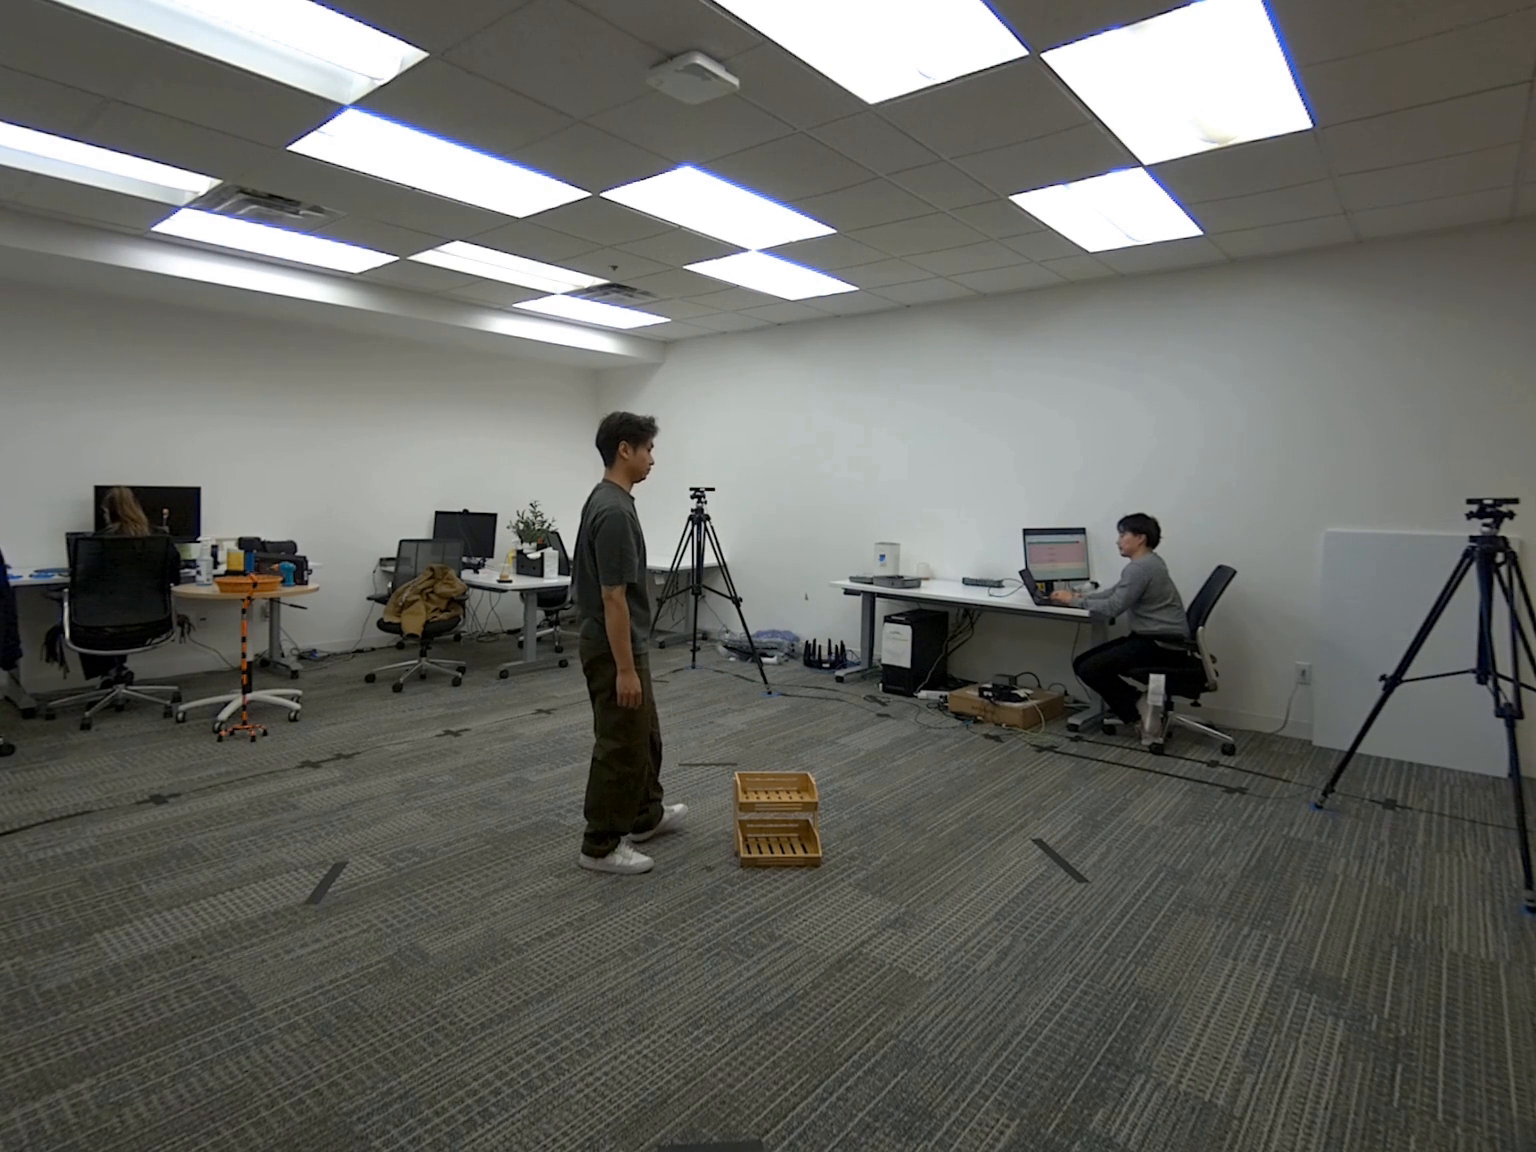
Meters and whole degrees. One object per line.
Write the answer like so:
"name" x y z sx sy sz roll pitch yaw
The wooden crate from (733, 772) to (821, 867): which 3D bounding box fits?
"wooden crate" 0.033 0.928 3.248 0.322 0.272 0.305 1 4 -7
